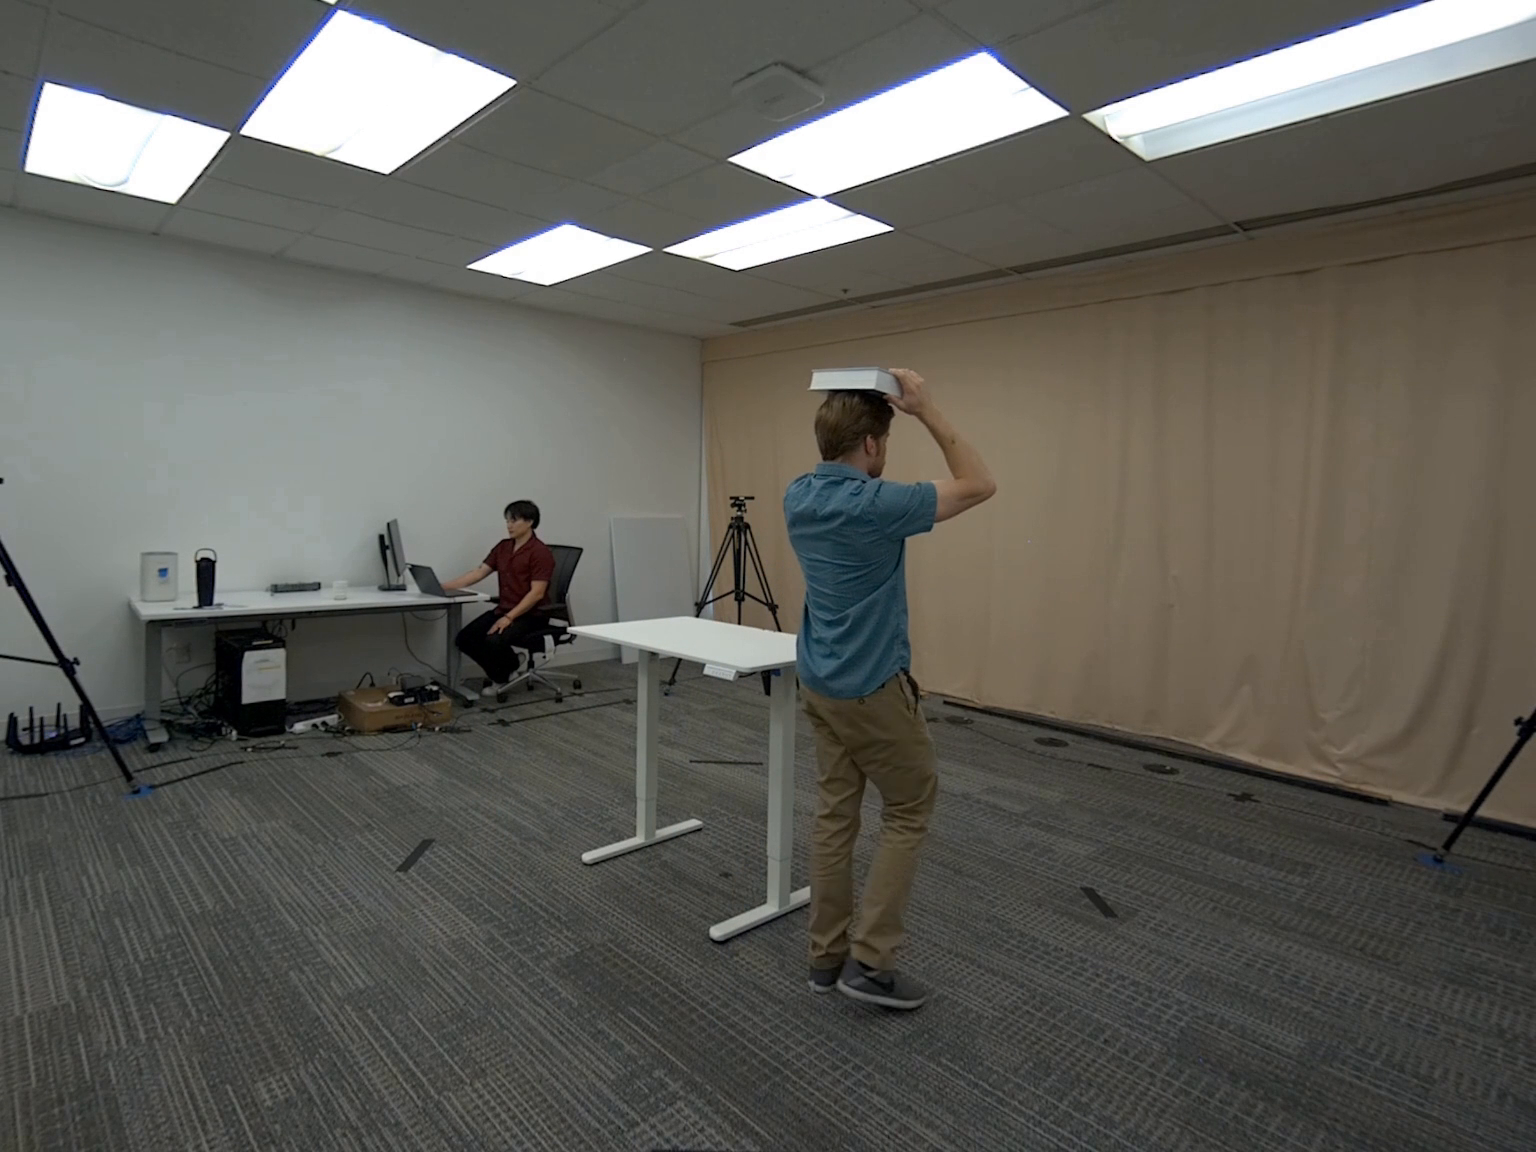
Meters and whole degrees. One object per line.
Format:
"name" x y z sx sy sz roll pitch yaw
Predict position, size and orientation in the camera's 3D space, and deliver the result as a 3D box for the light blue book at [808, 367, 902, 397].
"light blue book" 0.264 -0.520 2.339 0.186 0.059 0.268 5 7 -39
